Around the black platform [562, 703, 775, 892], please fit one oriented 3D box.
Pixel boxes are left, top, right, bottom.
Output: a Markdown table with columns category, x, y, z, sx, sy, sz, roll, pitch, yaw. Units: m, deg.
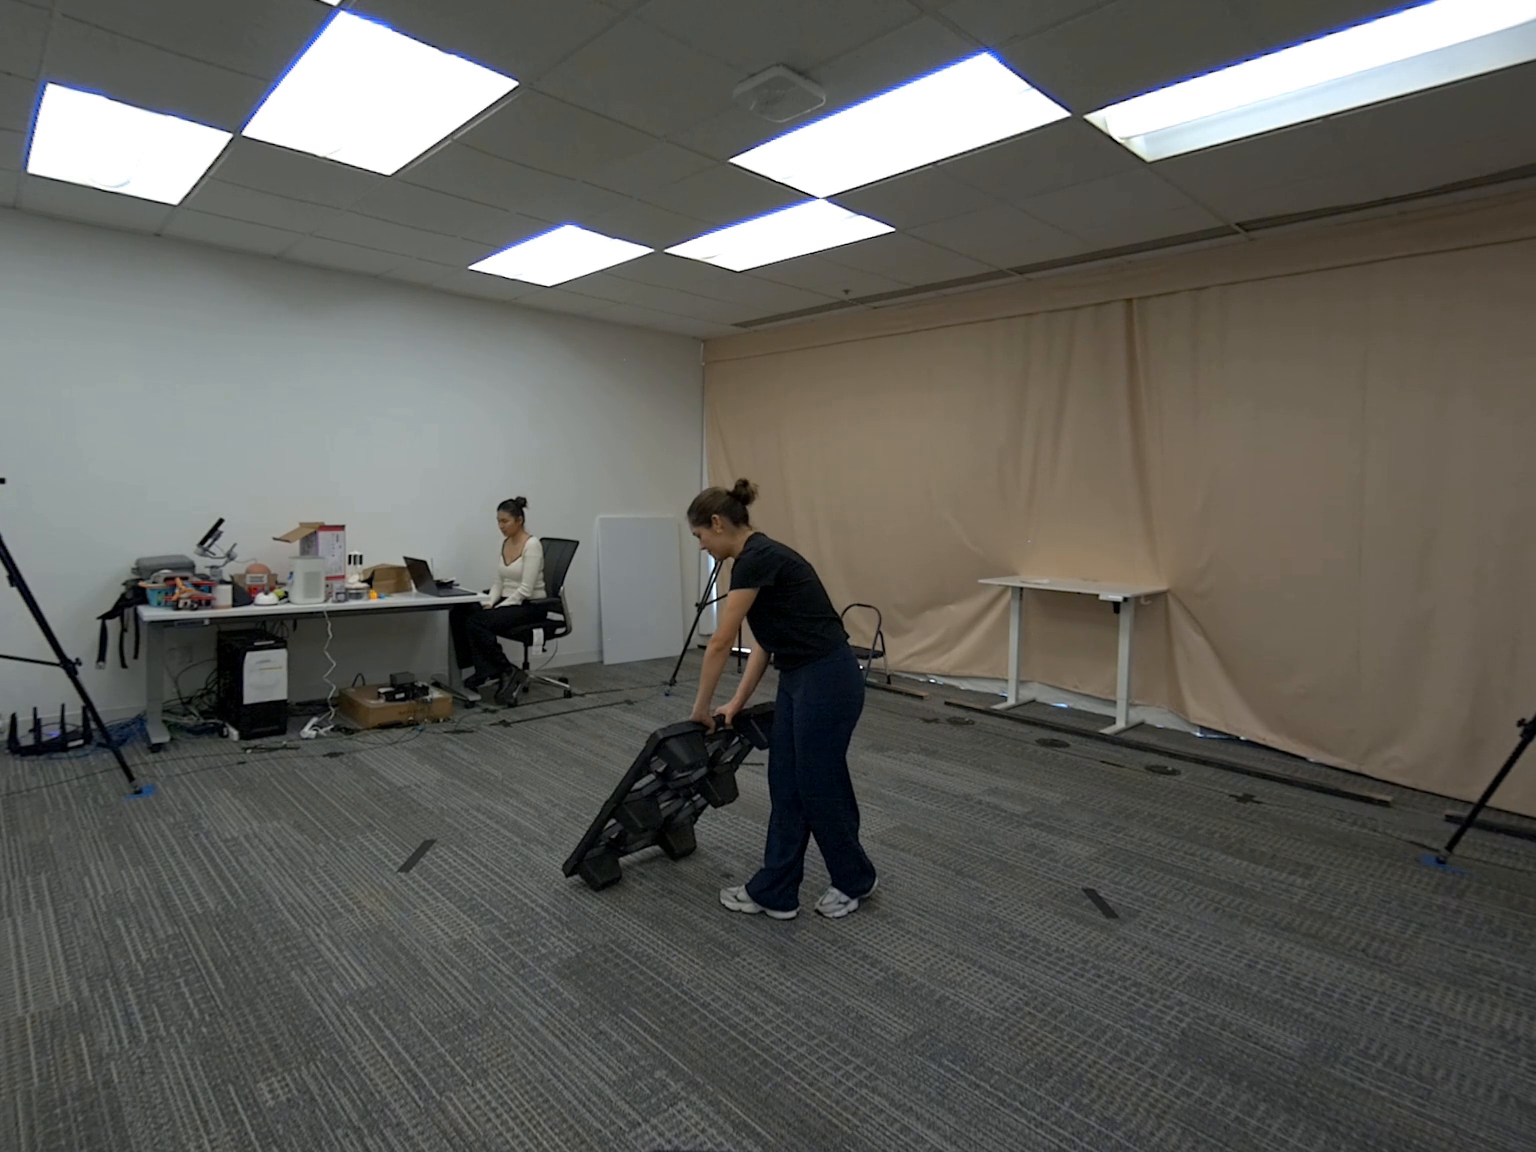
| category | x | y | z | sx | sy | sz | roll | pitch | yaw |
| --- | --- | --- | --- | --- | --- | --- | --- | --- | --- |
| black platform | -0.310 | 0.791 | 2.967 | 0.591 | 0.802 | 0.147 | -3 | 46 | -48 |
